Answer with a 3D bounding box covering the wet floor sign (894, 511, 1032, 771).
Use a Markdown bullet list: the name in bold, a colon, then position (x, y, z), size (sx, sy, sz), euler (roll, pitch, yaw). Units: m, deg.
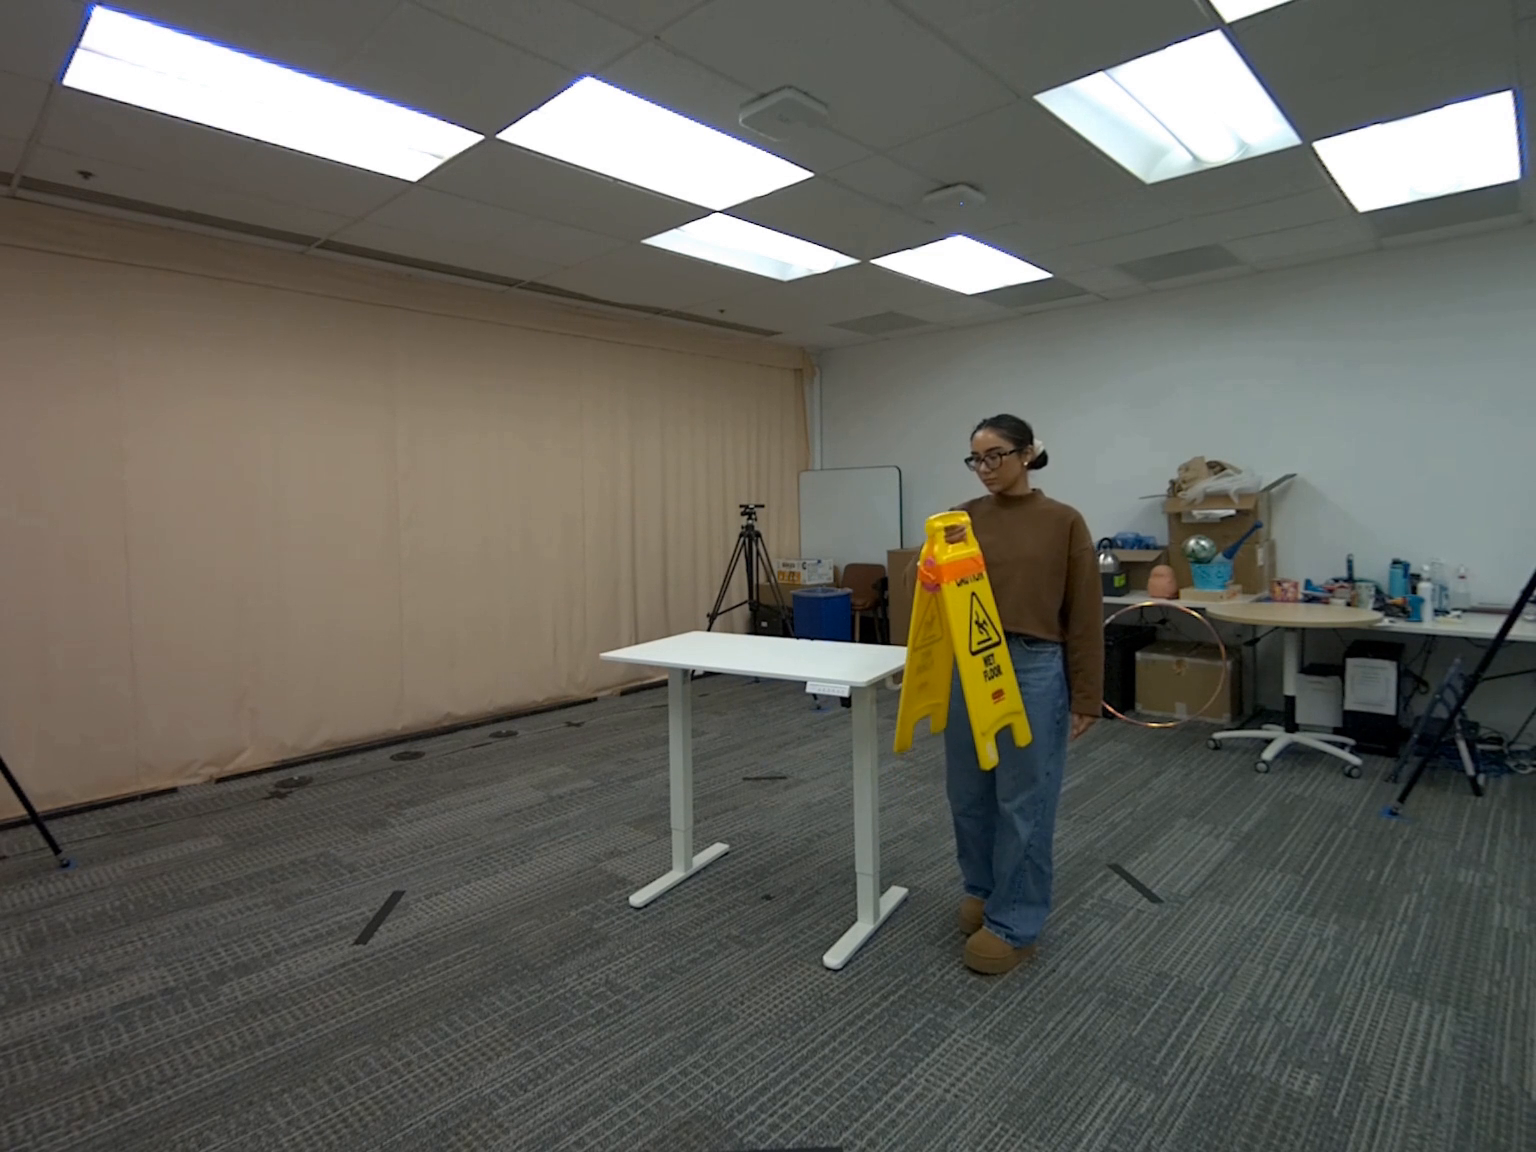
- **wet floor sign**: position (0.511, 0.154, 2.289), size (0.299, 0.644, 0.274), euler (-1, 6, 42)
